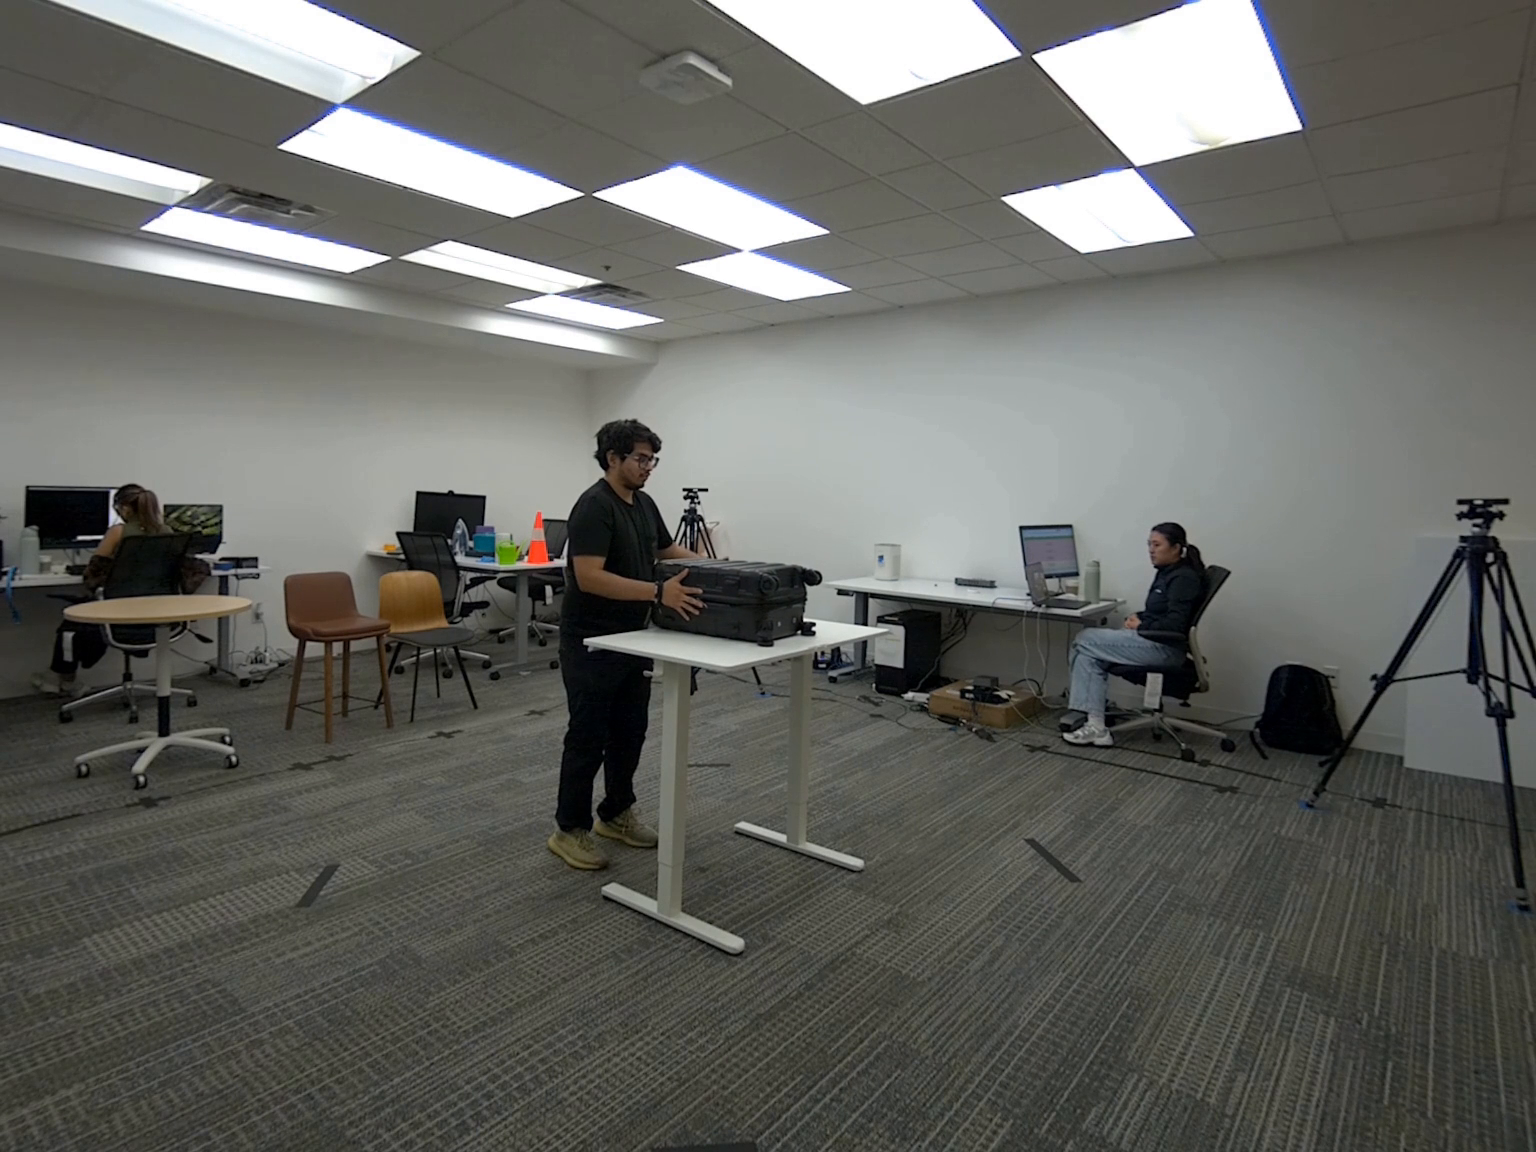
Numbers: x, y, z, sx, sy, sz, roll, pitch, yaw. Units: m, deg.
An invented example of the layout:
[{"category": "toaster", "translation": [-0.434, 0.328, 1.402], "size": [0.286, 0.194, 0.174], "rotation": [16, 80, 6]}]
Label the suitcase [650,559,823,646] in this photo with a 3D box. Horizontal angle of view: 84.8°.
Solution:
[{"category": "suitcase", "translation": [-0.138, 0.081, 3.031], "size": [0.567, 0.247, 0.365], "rotation": [5, 6, 35]}]
